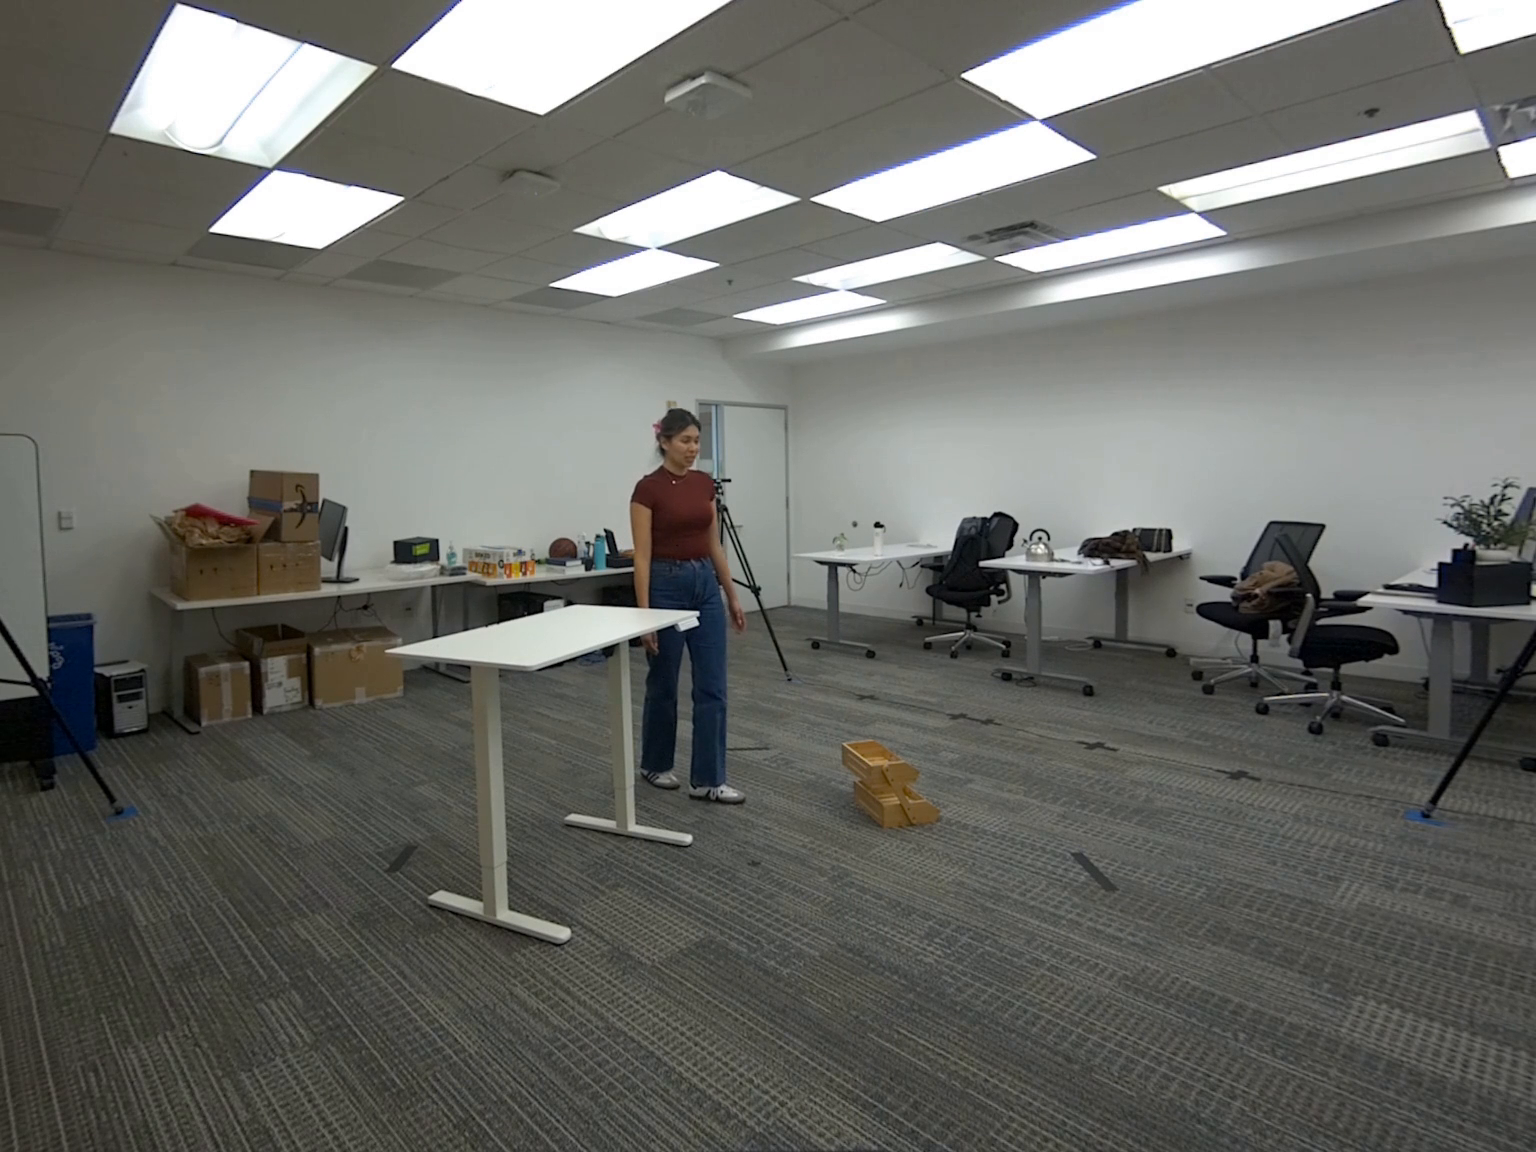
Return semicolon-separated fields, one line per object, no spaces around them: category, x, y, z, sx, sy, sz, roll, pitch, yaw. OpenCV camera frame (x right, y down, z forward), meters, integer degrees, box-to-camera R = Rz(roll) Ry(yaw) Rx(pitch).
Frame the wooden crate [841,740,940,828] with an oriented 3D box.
wooden crate;0.515;0.850;3.569;0.298;0.272;0.331;-2;6;-16
